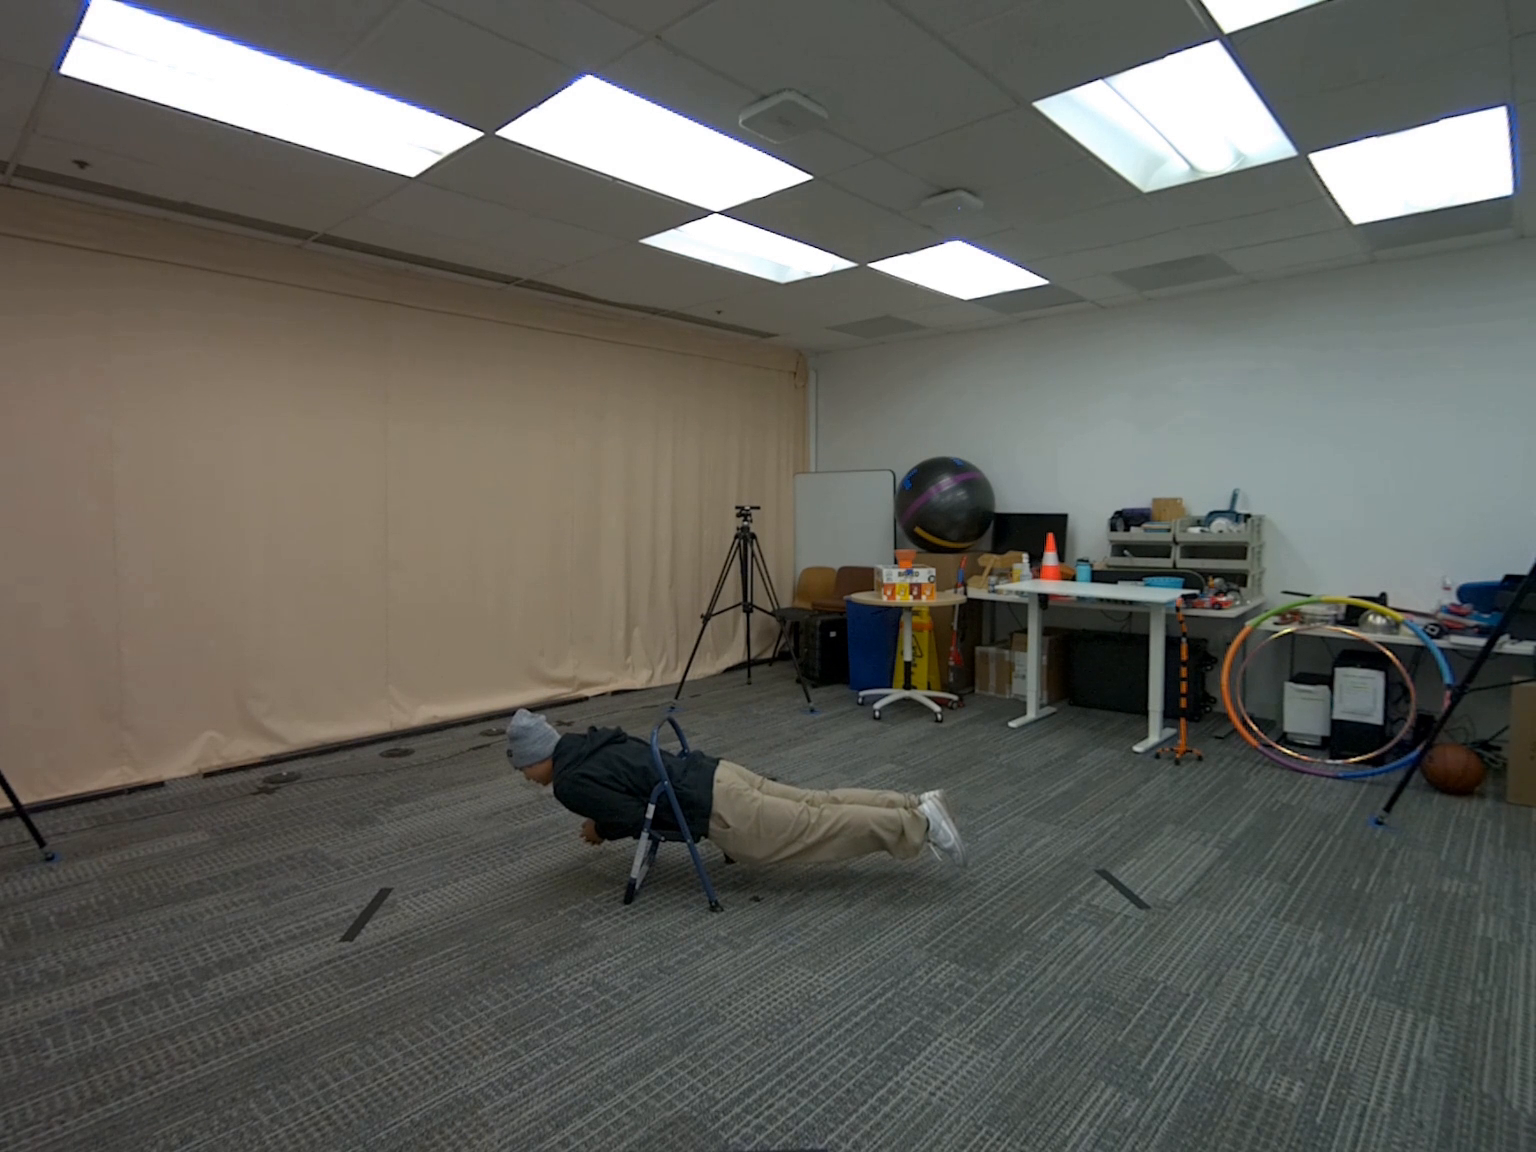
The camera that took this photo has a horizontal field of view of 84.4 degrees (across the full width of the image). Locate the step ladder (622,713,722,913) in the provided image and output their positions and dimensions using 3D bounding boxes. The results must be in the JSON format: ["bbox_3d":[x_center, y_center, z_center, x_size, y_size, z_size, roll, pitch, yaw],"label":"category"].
[{"bbox_3d":[-0.320,0.839,3.104,0.351,0.605,0.429,-1,3,5],"label":"step ladder"}]
